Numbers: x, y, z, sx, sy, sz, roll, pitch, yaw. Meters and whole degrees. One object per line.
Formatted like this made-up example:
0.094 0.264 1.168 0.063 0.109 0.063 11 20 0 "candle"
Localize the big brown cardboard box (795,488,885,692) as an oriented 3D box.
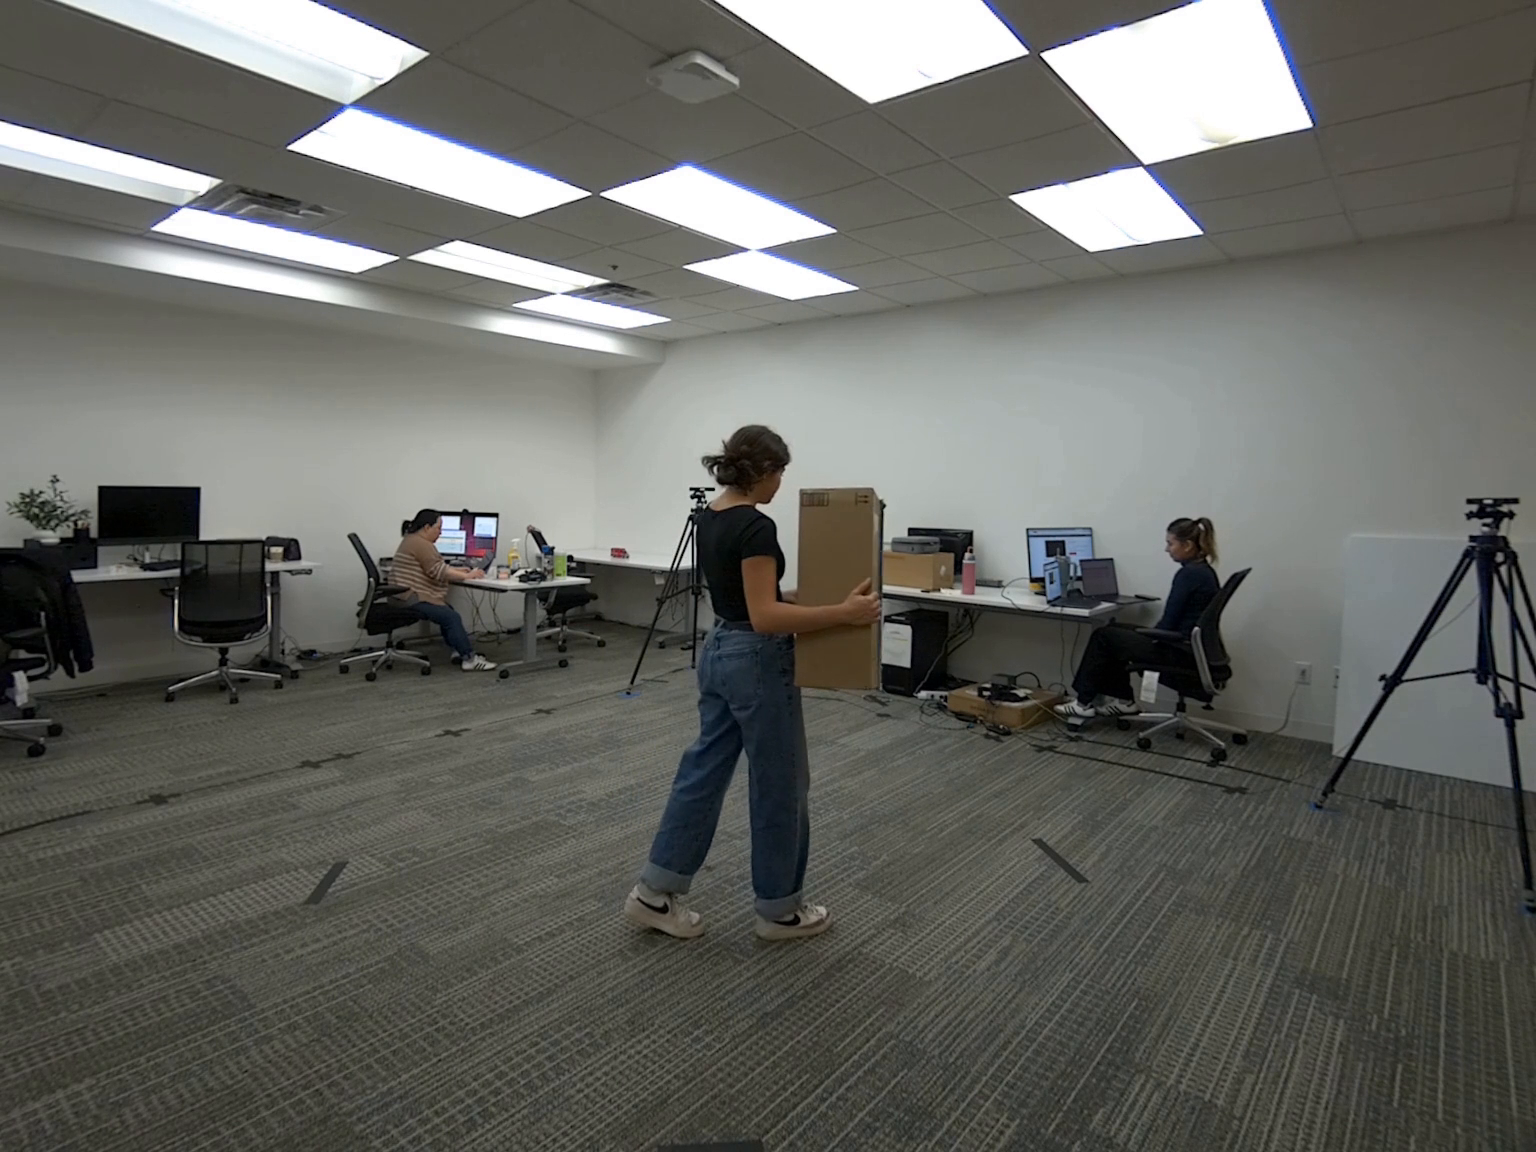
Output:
0.222 0.045 2.589 0.237 0.593 0.409 1 -6 13 "big brown cardboard box"
